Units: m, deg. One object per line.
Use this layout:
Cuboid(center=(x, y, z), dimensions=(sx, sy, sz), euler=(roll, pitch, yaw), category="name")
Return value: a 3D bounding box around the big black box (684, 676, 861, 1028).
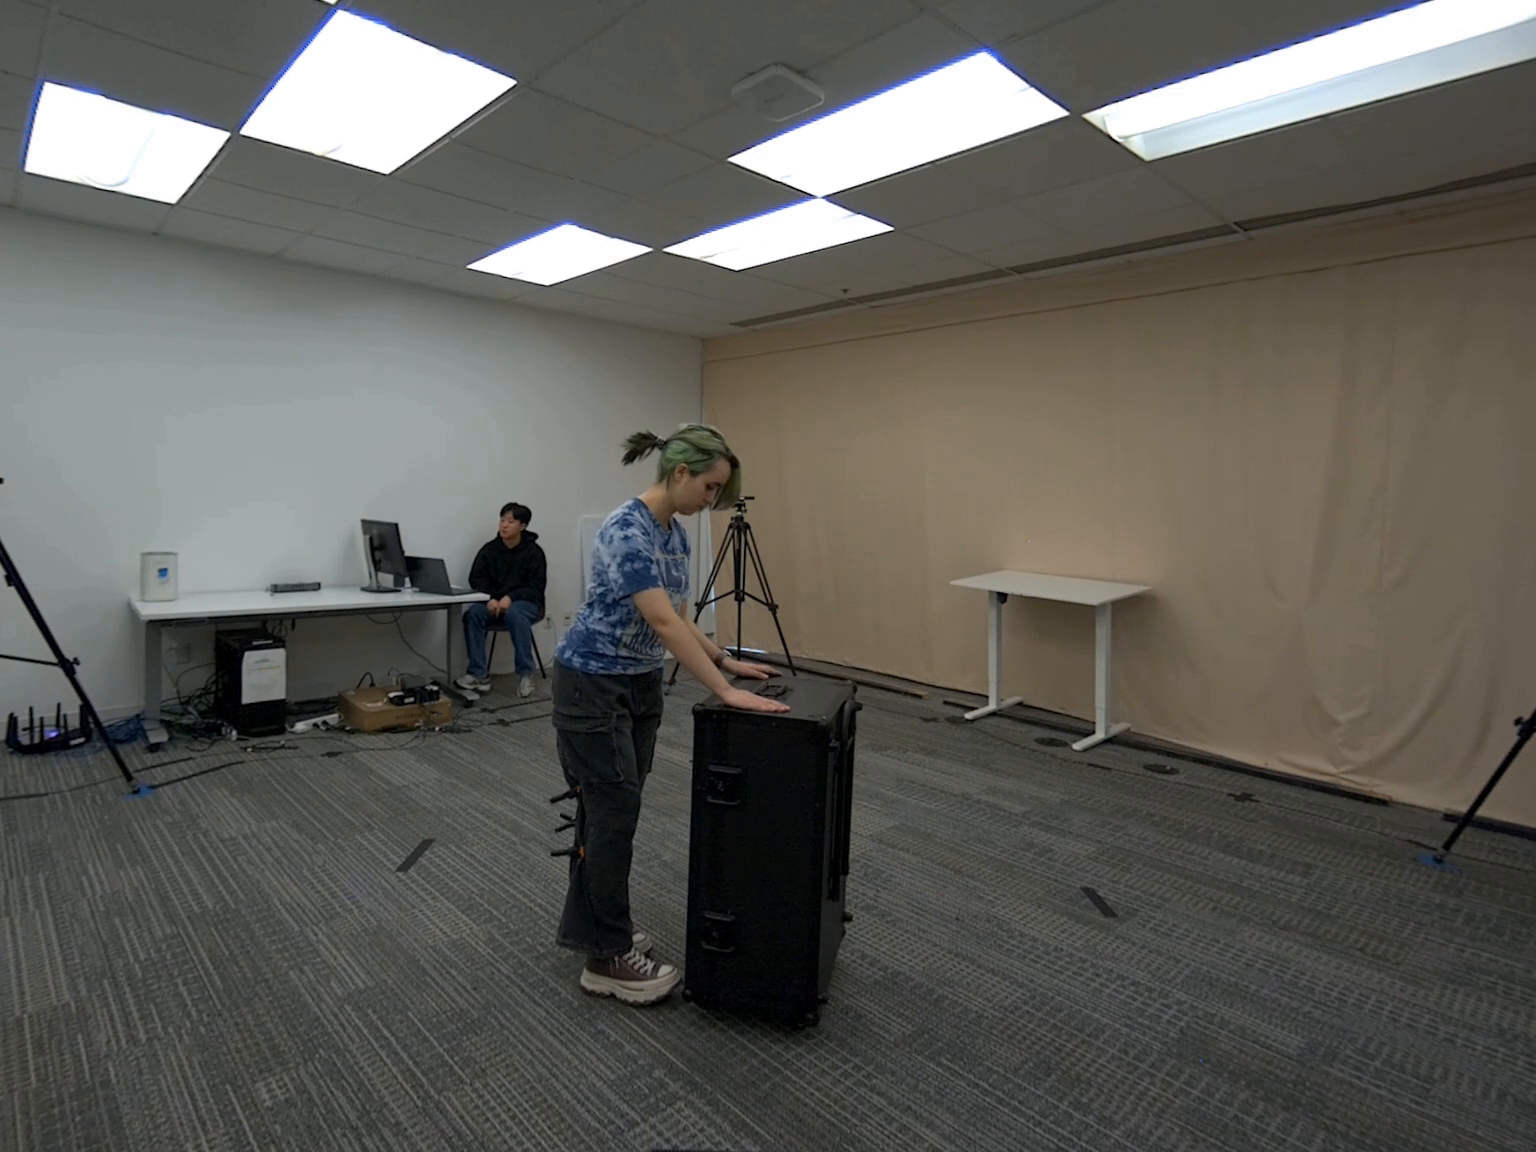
Cuboid(center=(0.025, 0.757, 2.363), dimensions=(0.401, 0.859, 0.516), euler=(4, 5, 15), category="big black box")
